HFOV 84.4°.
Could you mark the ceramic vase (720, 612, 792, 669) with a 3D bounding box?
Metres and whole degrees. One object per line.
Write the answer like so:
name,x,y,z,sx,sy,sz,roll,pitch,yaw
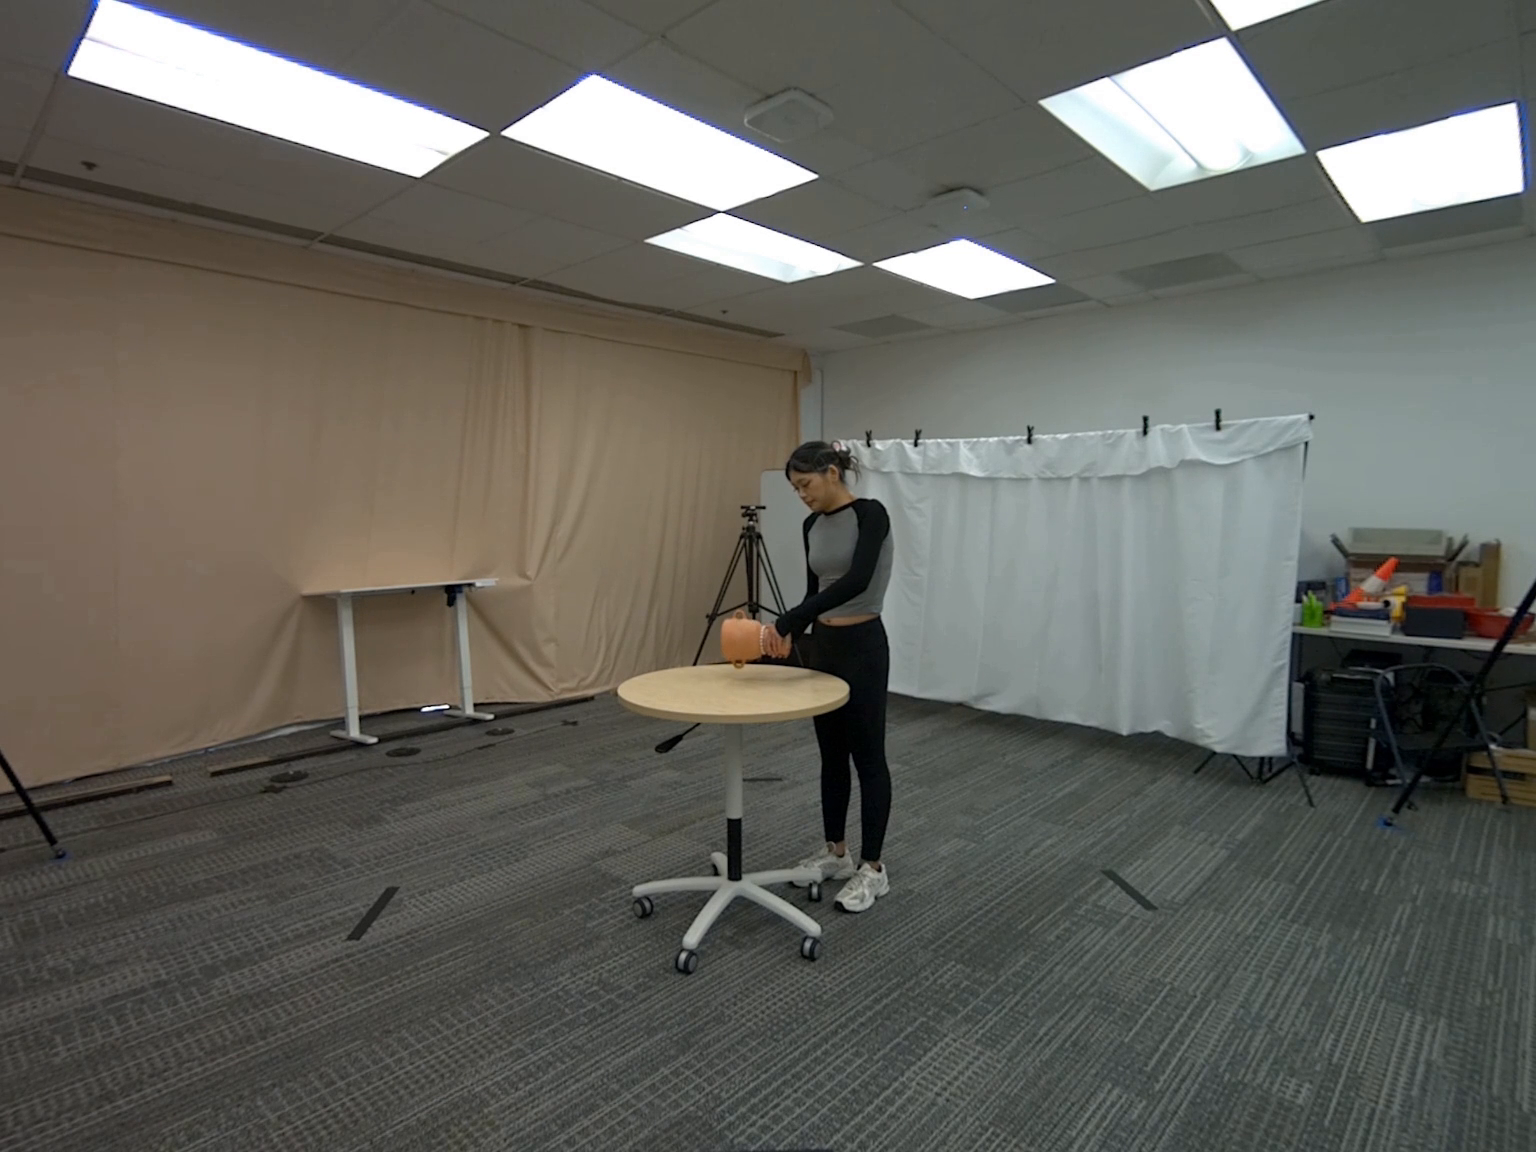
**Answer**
ceramic vase,-0.037,0.216,2.860,0.224,0.155,0.135,2,38,16
